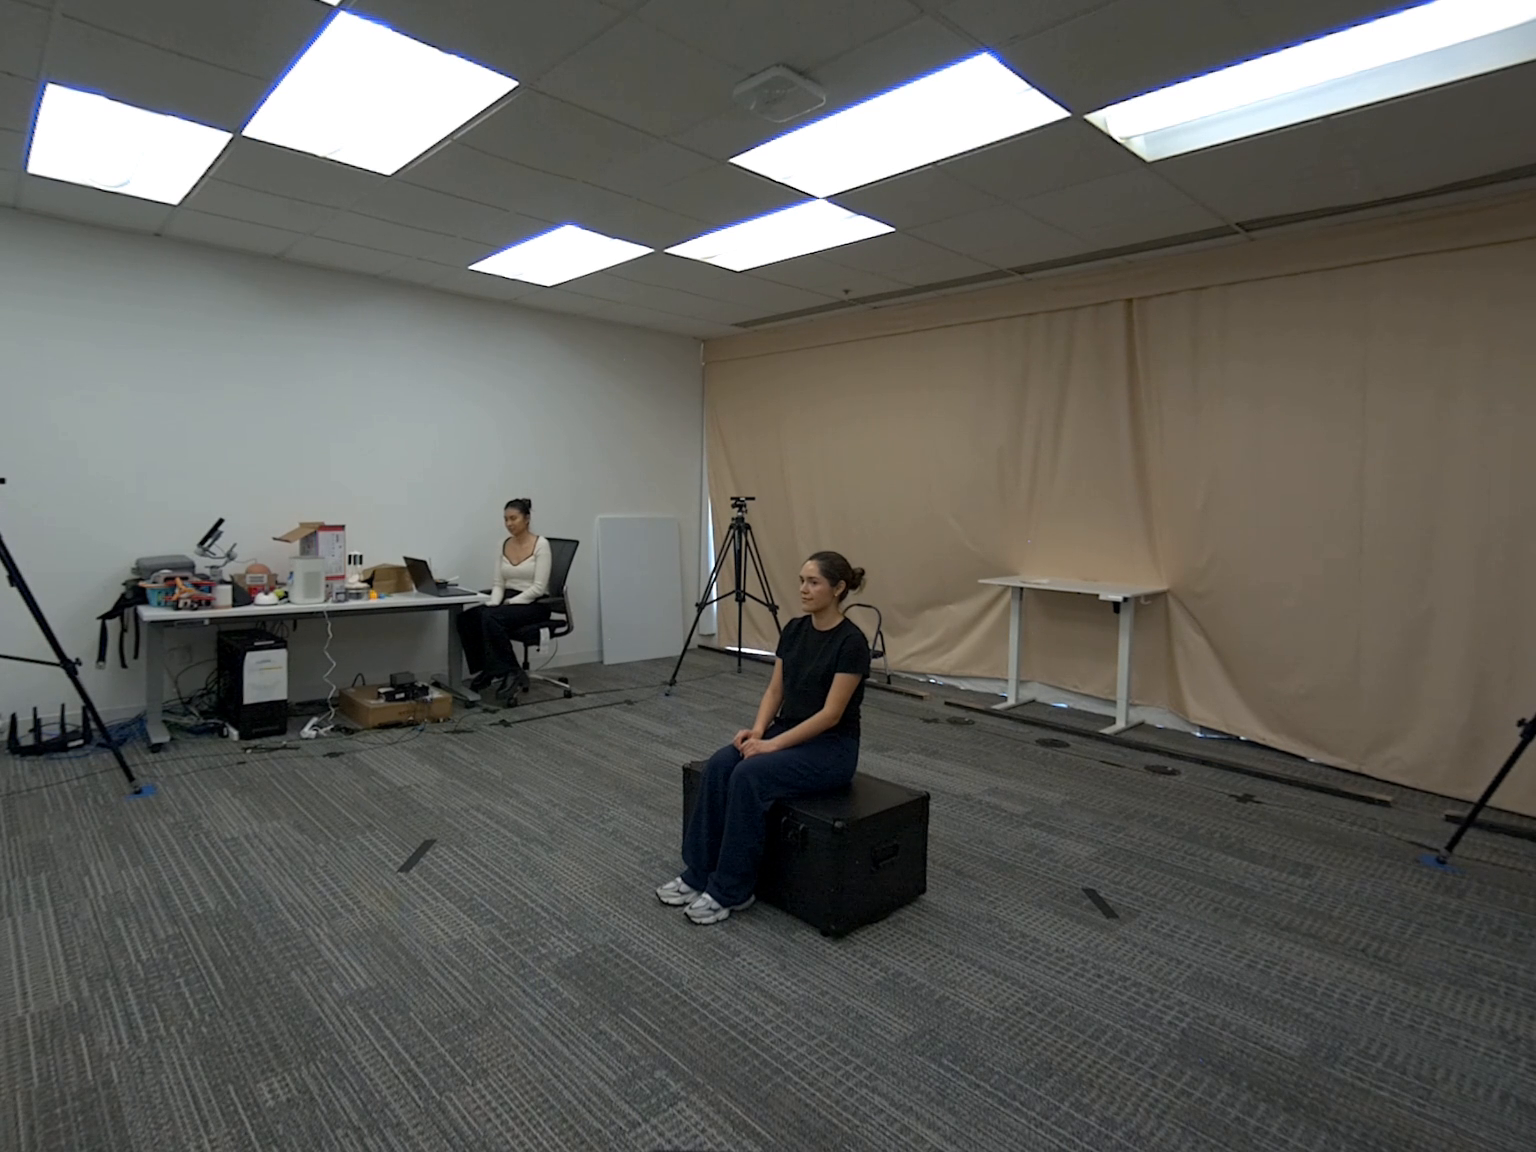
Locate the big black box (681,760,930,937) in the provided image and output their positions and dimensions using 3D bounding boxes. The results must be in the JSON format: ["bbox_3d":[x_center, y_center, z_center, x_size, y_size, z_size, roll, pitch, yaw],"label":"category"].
[{"bbox_3d":[0.094,0.927,3.087,0.509,0.395,0.884,-2,6,-44],"label":"big black box"}]
